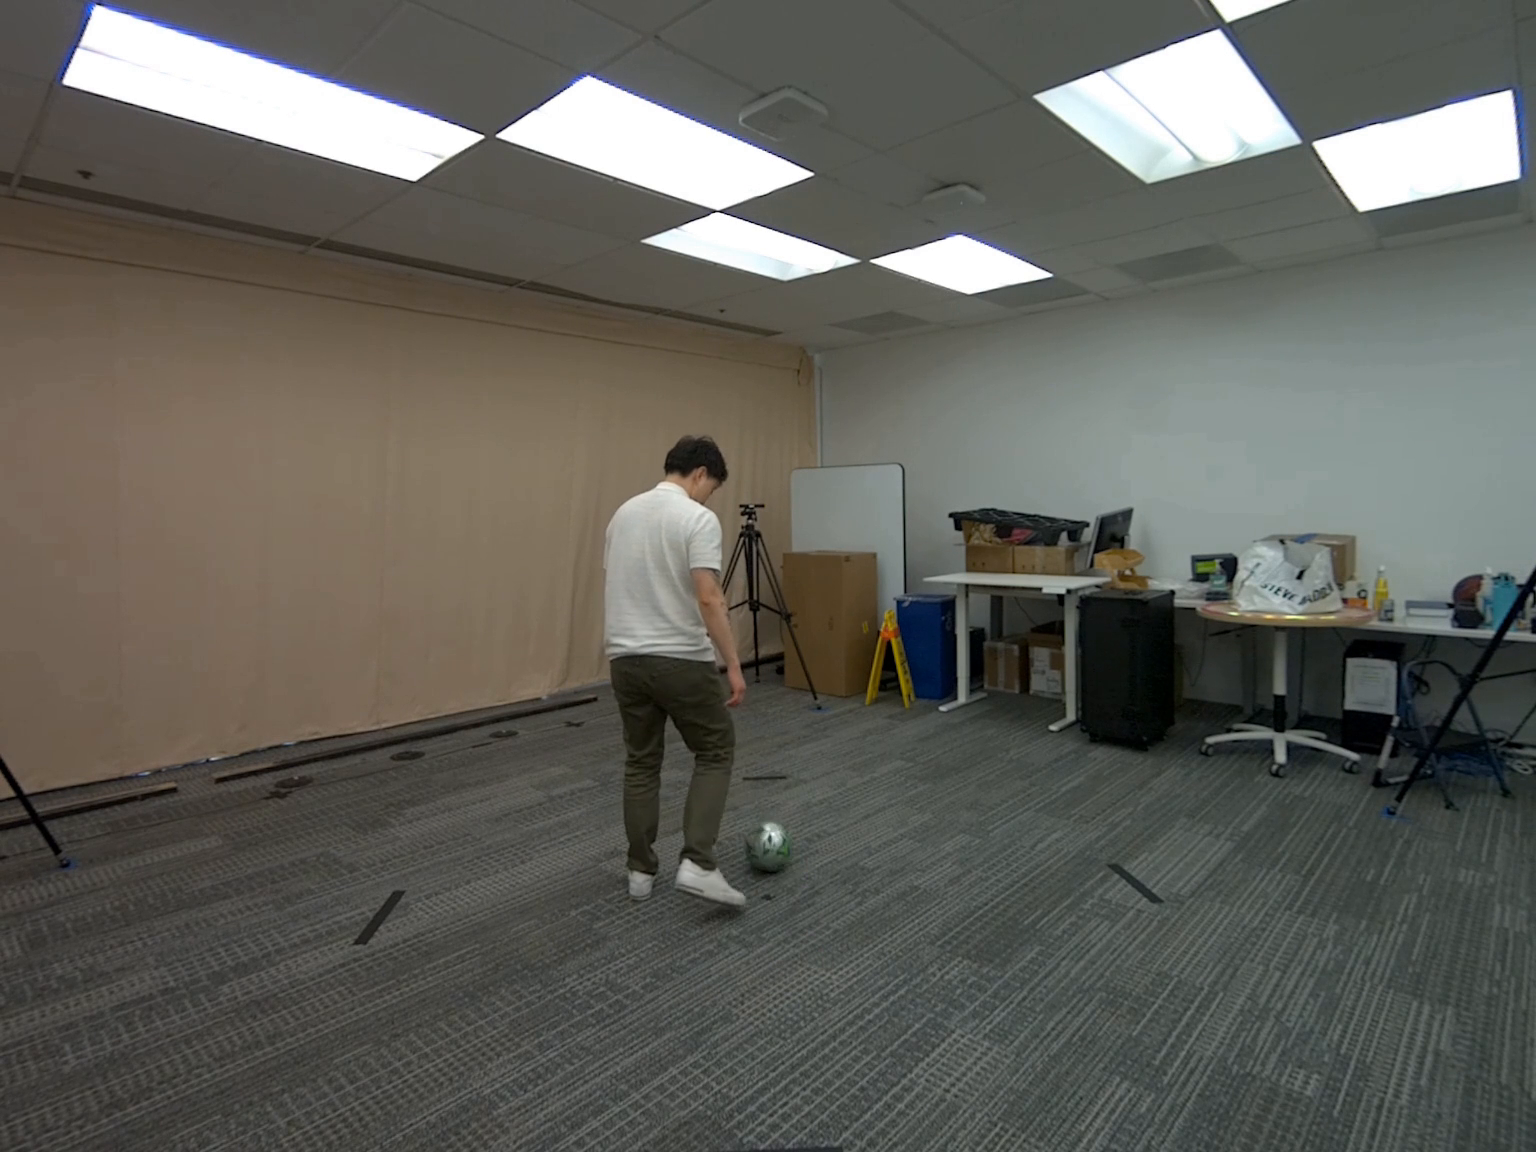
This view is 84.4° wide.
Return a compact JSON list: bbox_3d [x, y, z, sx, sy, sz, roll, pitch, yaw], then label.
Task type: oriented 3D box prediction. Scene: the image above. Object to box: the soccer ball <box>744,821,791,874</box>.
[{"bbox_3d":[0.003,1.024,3.199,0.187,0.187,0.188,-1,4,-2],"label":"soccer ball"}]
